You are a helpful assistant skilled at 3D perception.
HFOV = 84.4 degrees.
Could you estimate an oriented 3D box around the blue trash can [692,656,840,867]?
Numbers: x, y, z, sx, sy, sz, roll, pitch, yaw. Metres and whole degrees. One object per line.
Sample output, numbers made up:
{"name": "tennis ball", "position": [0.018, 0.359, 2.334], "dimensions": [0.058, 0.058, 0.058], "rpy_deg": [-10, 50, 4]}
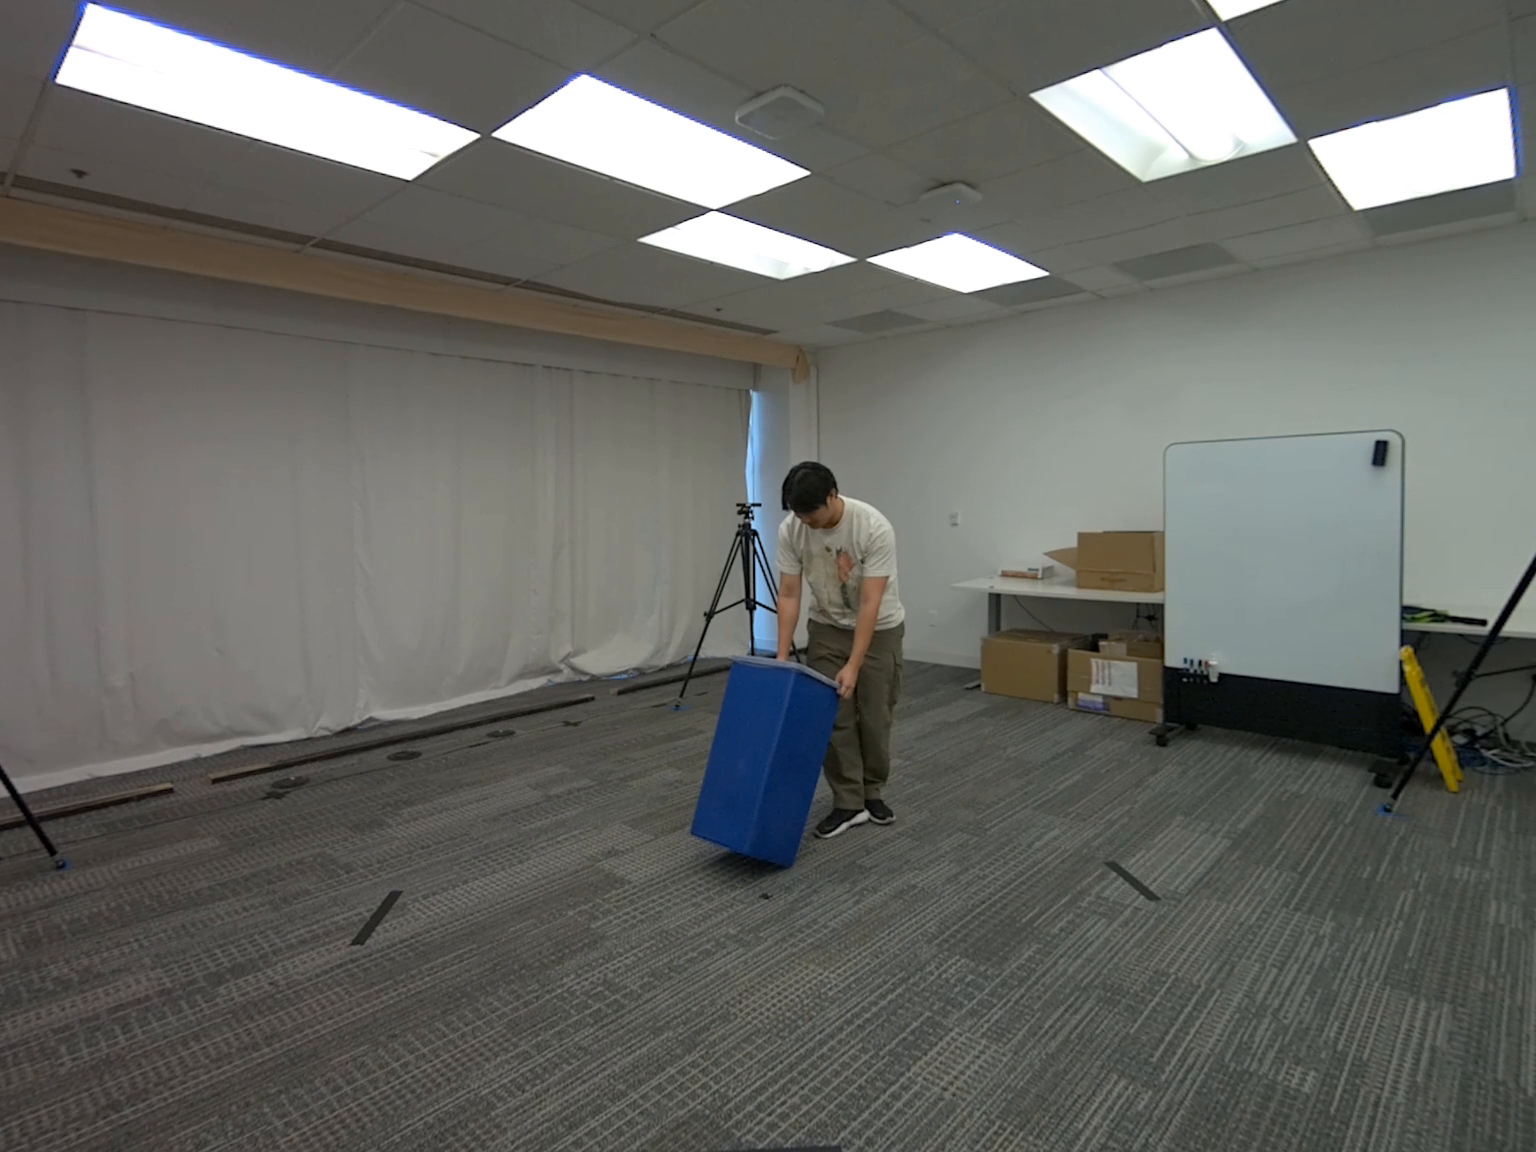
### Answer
{"name": "blue trash can", "position": [-0.002, 0.713, 3.300], "dimensions": [0.390, 0.717, 0.360], "rpy_deg": [1, -22, 42]}
